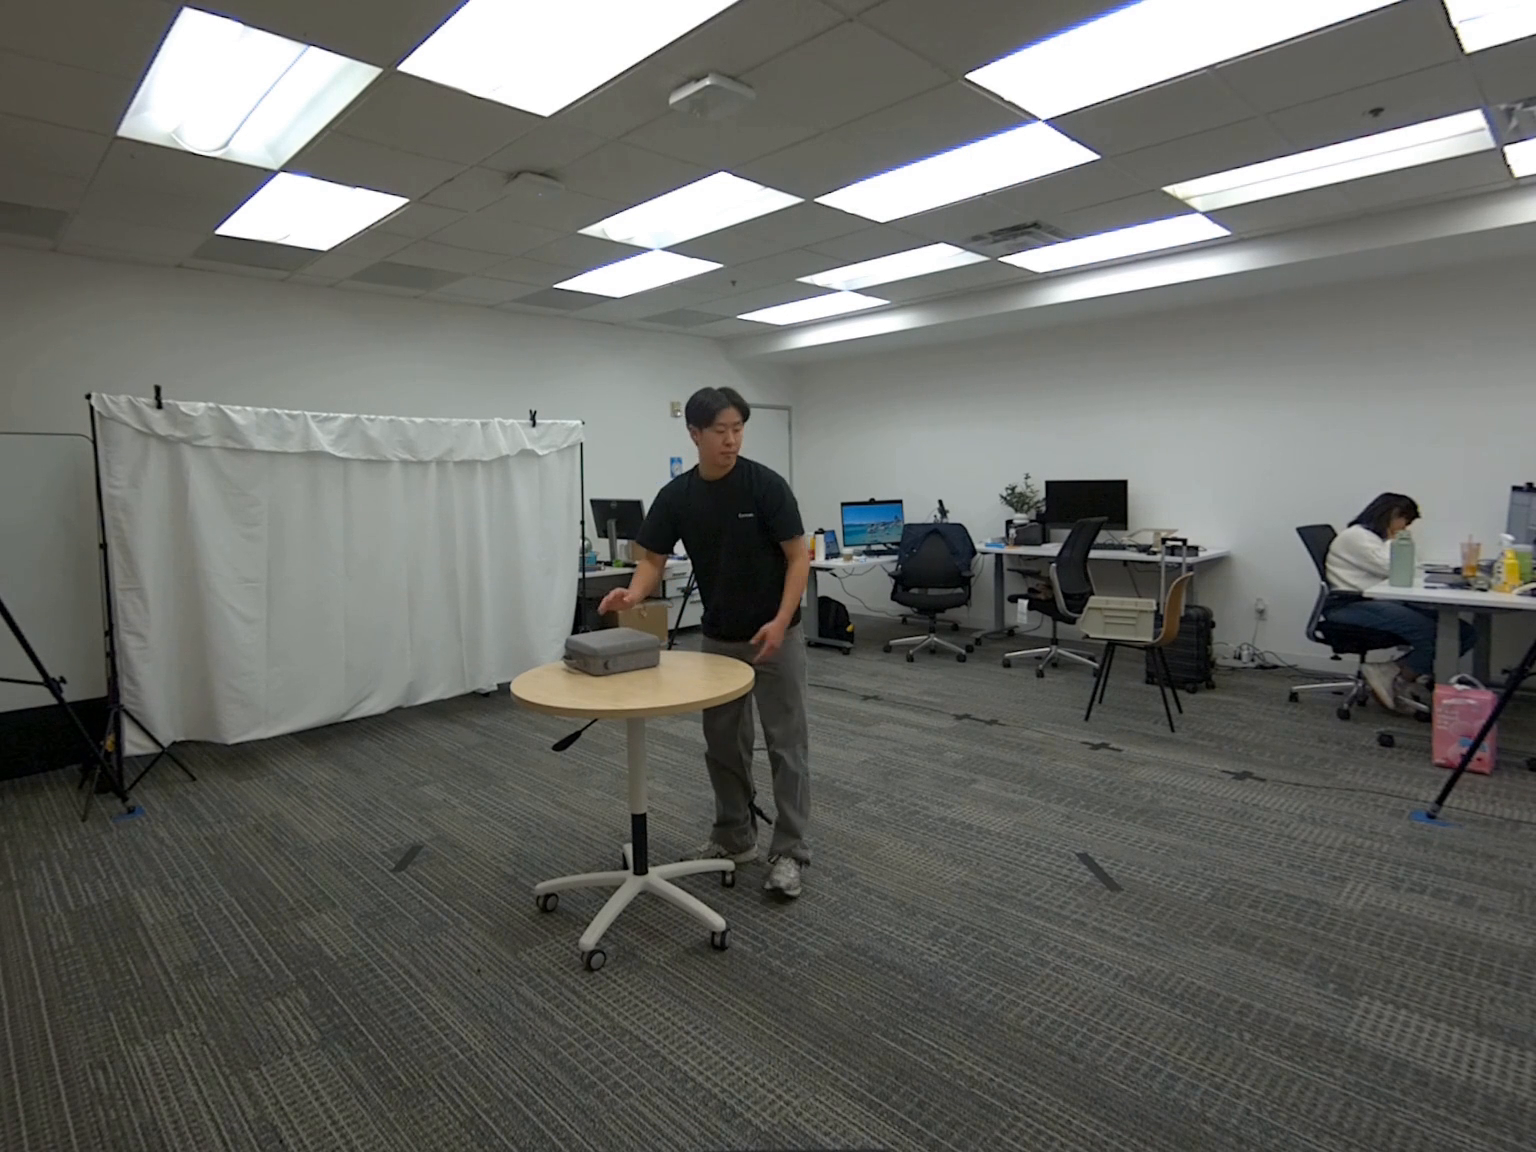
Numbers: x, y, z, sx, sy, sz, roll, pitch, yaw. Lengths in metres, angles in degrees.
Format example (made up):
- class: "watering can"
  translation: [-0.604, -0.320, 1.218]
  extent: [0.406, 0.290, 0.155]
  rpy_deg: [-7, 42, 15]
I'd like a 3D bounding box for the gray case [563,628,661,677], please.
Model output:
- class: "gray case"
  translation: [-0.531, 0.252, 2.855]
  extent: [0.280, 0.102, 0.271]
  rpy_deg: [-7, 9, -34]
